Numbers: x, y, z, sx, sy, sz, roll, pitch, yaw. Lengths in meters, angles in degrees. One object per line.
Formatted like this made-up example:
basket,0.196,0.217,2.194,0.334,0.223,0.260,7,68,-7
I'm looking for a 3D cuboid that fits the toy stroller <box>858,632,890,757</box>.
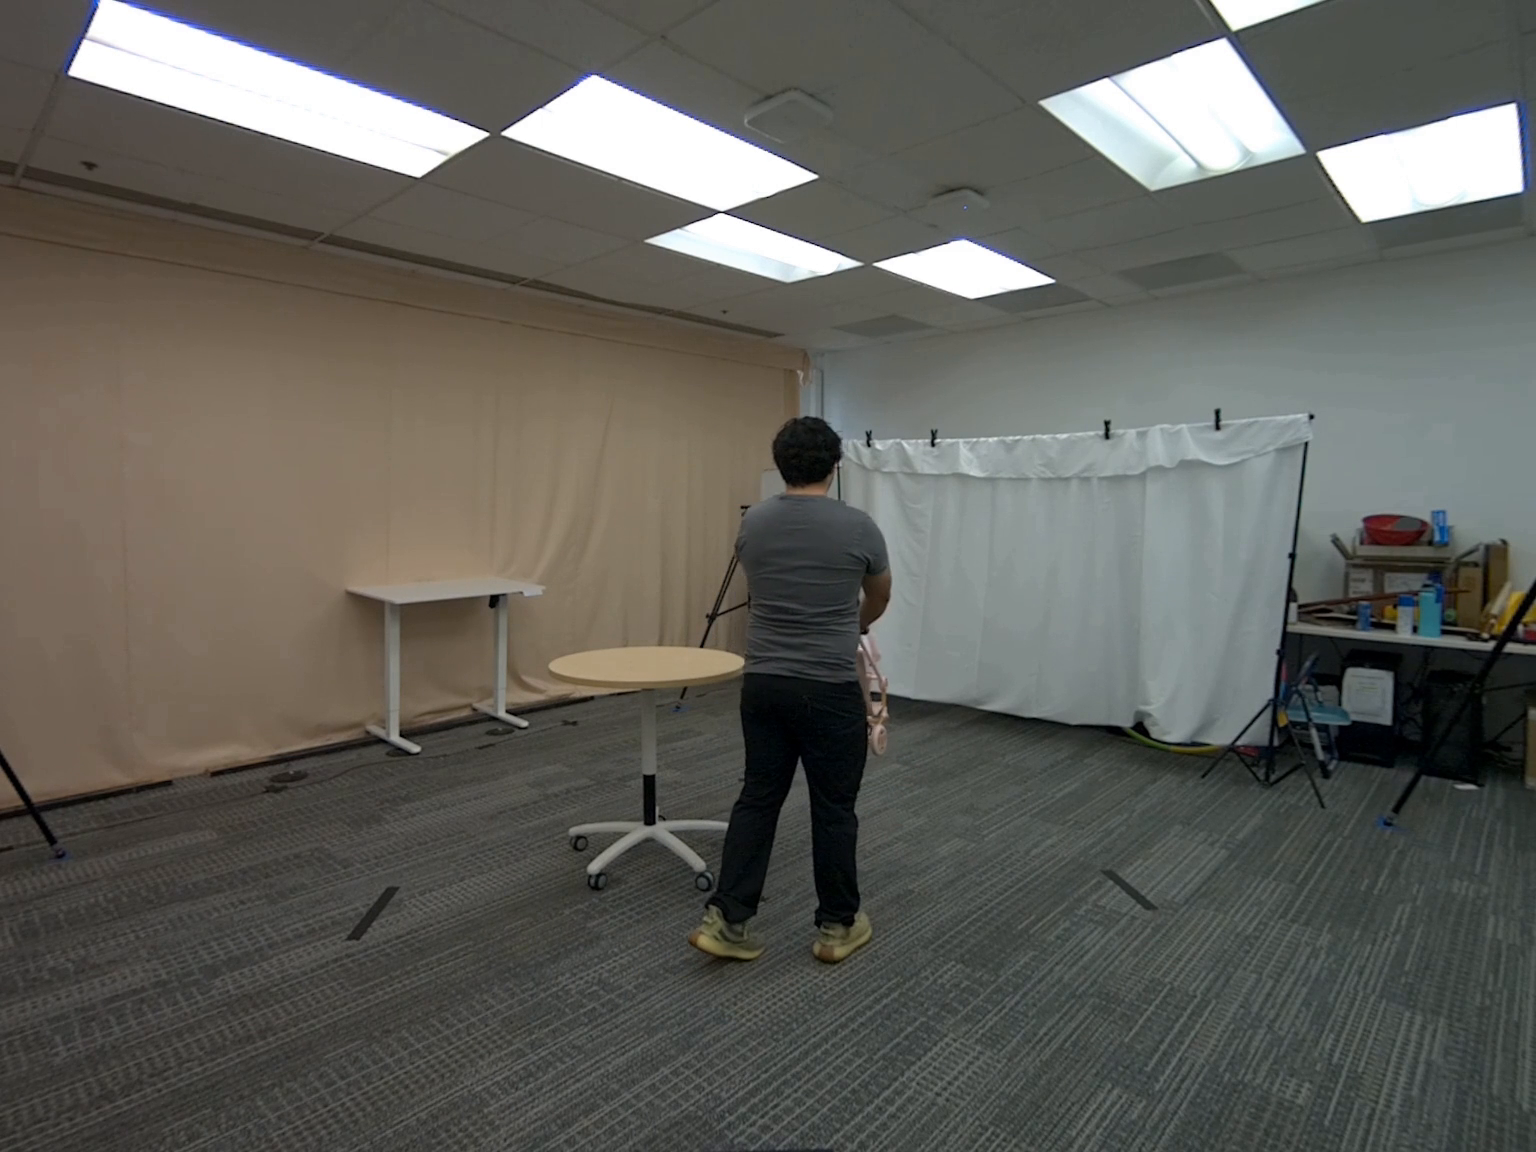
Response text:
toy stroller,0.328,0.414,3.139,0.289,0.531,0.334,-2,10,32
